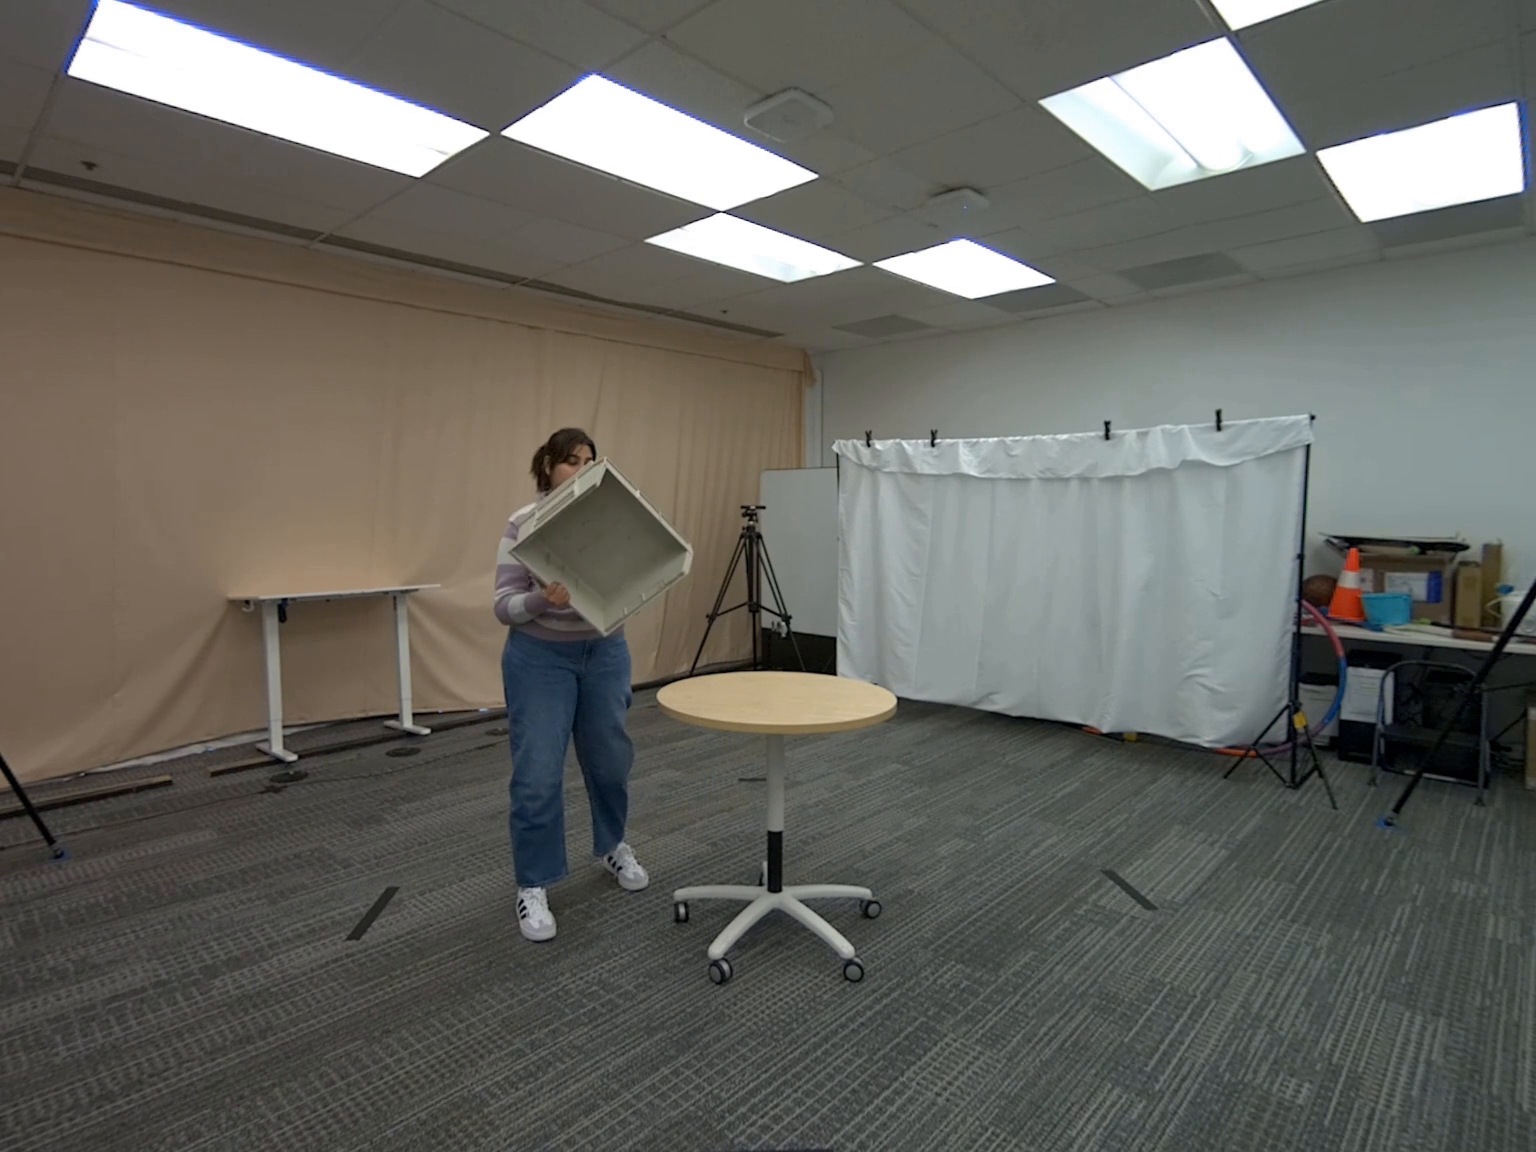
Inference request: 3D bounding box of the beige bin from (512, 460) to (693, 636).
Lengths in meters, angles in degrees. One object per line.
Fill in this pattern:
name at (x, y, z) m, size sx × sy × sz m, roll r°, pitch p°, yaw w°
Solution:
beige bin at (-0.505, -0.092, 2.587) m, size 0.380 × 0.410 × 0.193 m, roll -35°, pitch 31°, yaw 12°
